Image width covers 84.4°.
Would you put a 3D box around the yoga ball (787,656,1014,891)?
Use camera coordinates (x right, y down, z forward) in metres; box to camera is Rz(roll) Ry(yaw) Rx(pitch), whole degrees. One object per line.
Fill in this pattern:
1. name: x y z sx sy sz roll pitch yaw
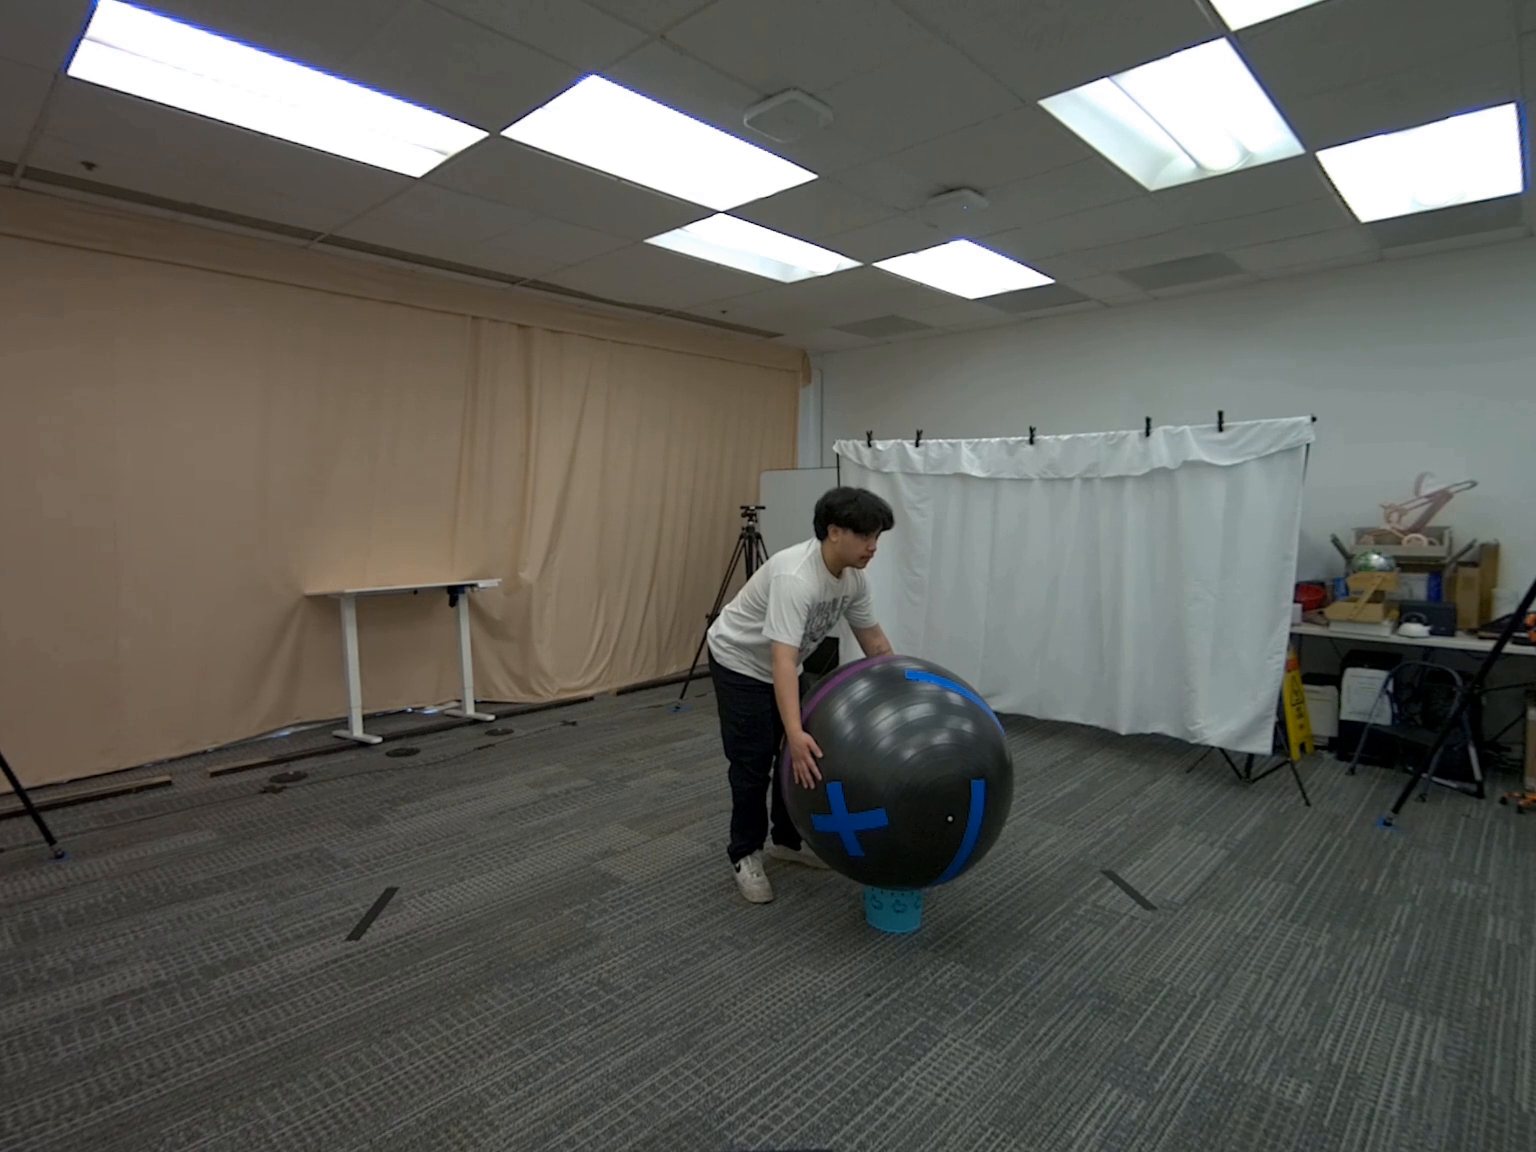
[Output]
1. yoga ball: 0.425 0.650 2.814 0.757 0.756 0.760 0 4 -2
